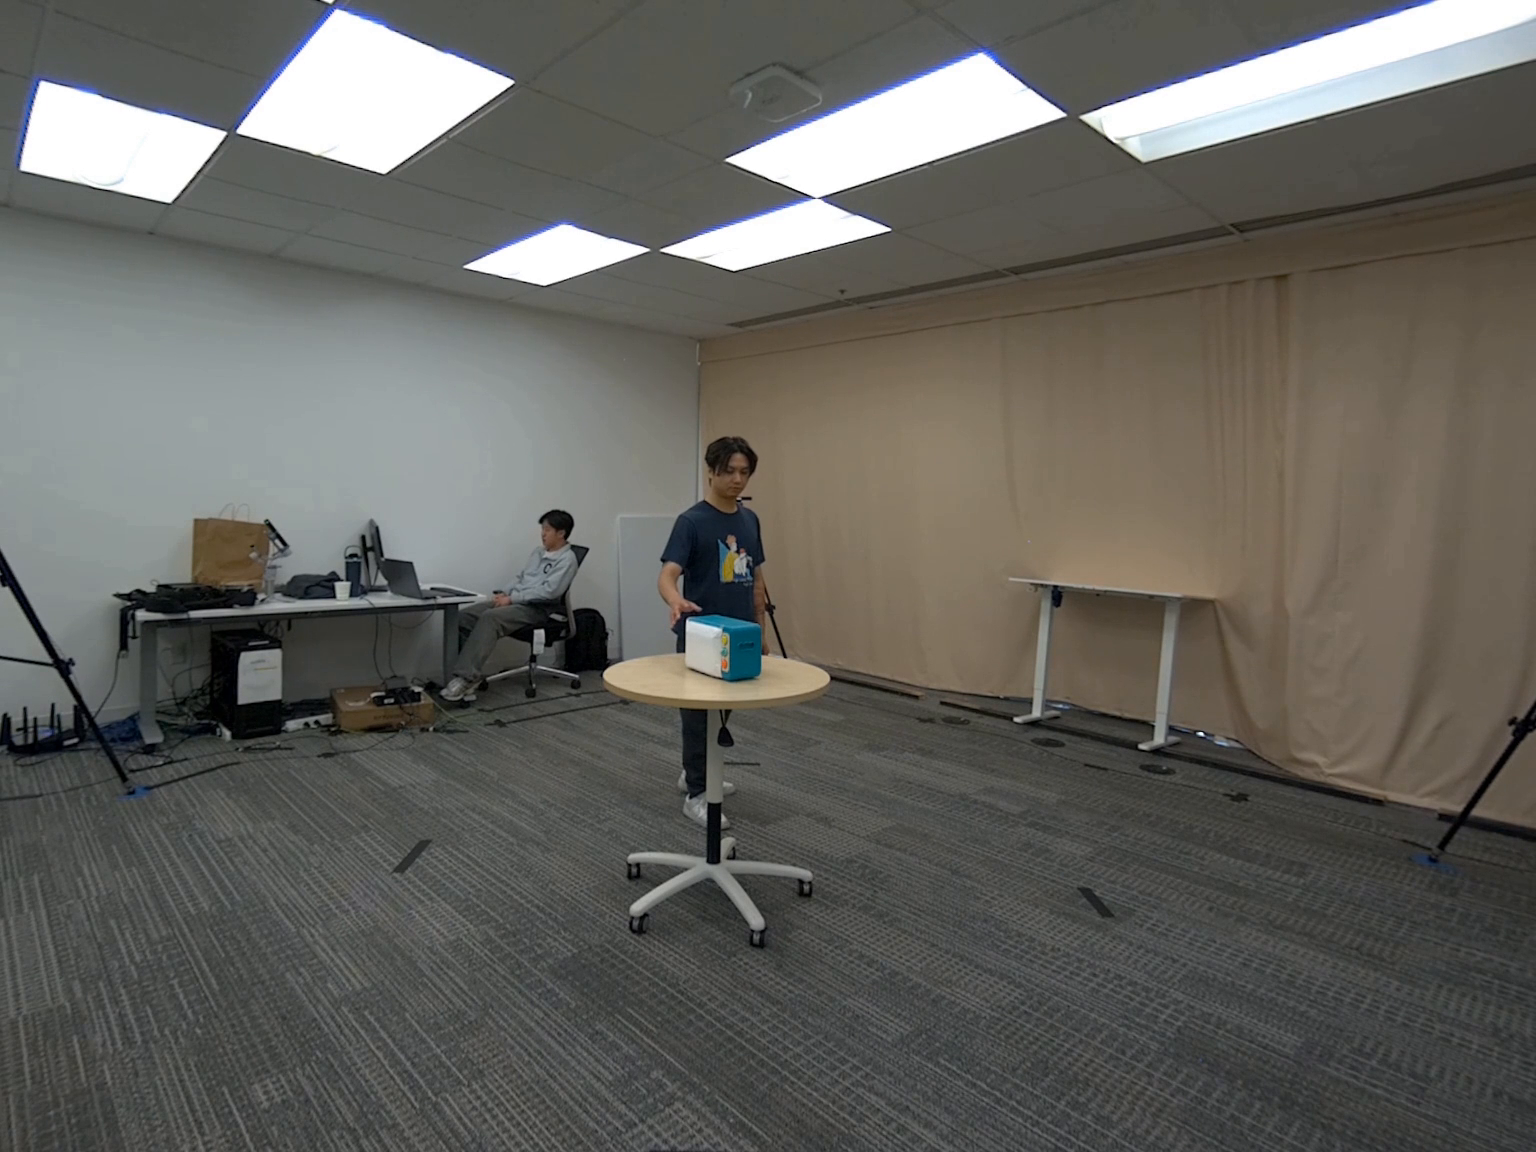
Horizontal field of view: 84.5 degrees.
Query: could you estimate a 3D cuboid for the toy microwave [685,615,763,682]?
[{"bbox_3d":[-0.168,0.242,2.844,0.149,0.183,0.293,-2,6,-35],"label":"toy microwave"}]
